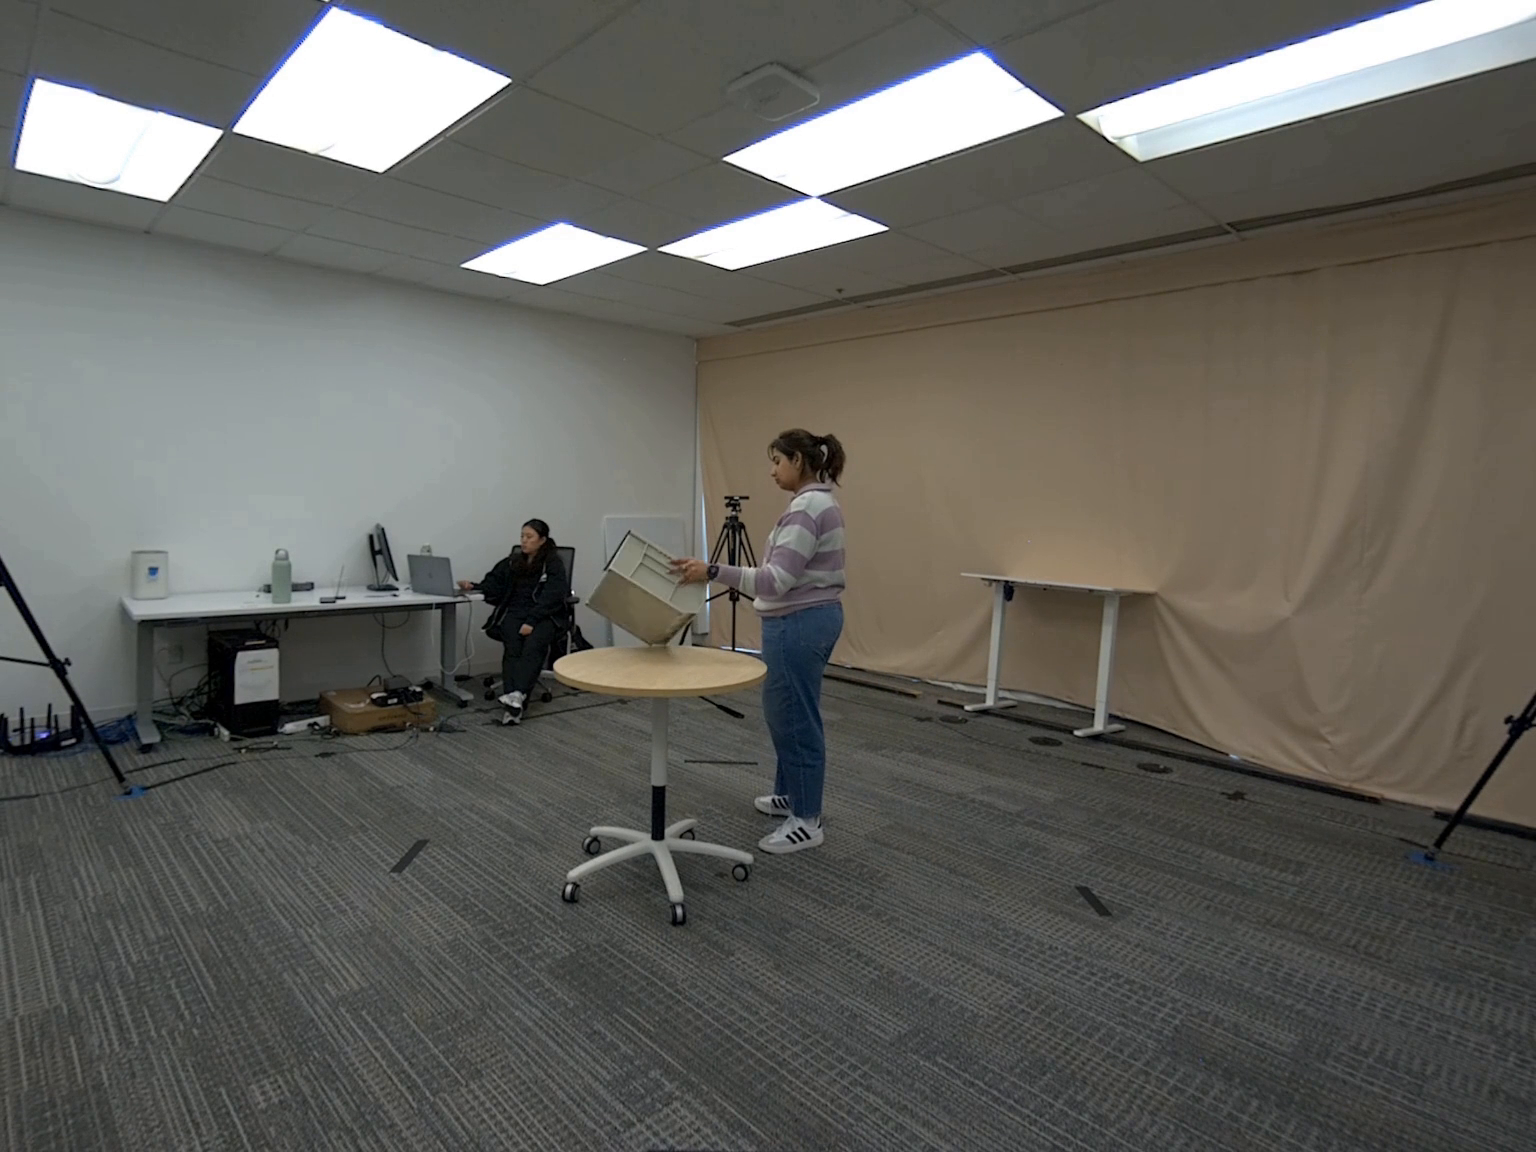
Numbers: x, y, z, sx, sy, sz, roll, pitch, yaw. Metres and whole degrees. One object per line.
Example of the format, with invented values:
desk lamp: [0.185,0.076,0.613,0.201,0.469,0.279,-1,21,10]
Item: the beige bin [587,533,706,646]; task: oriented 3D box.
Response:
beige bin: [-0.475,0.069,3.248,0.374,0.190,0.423,32,-30,-10]
